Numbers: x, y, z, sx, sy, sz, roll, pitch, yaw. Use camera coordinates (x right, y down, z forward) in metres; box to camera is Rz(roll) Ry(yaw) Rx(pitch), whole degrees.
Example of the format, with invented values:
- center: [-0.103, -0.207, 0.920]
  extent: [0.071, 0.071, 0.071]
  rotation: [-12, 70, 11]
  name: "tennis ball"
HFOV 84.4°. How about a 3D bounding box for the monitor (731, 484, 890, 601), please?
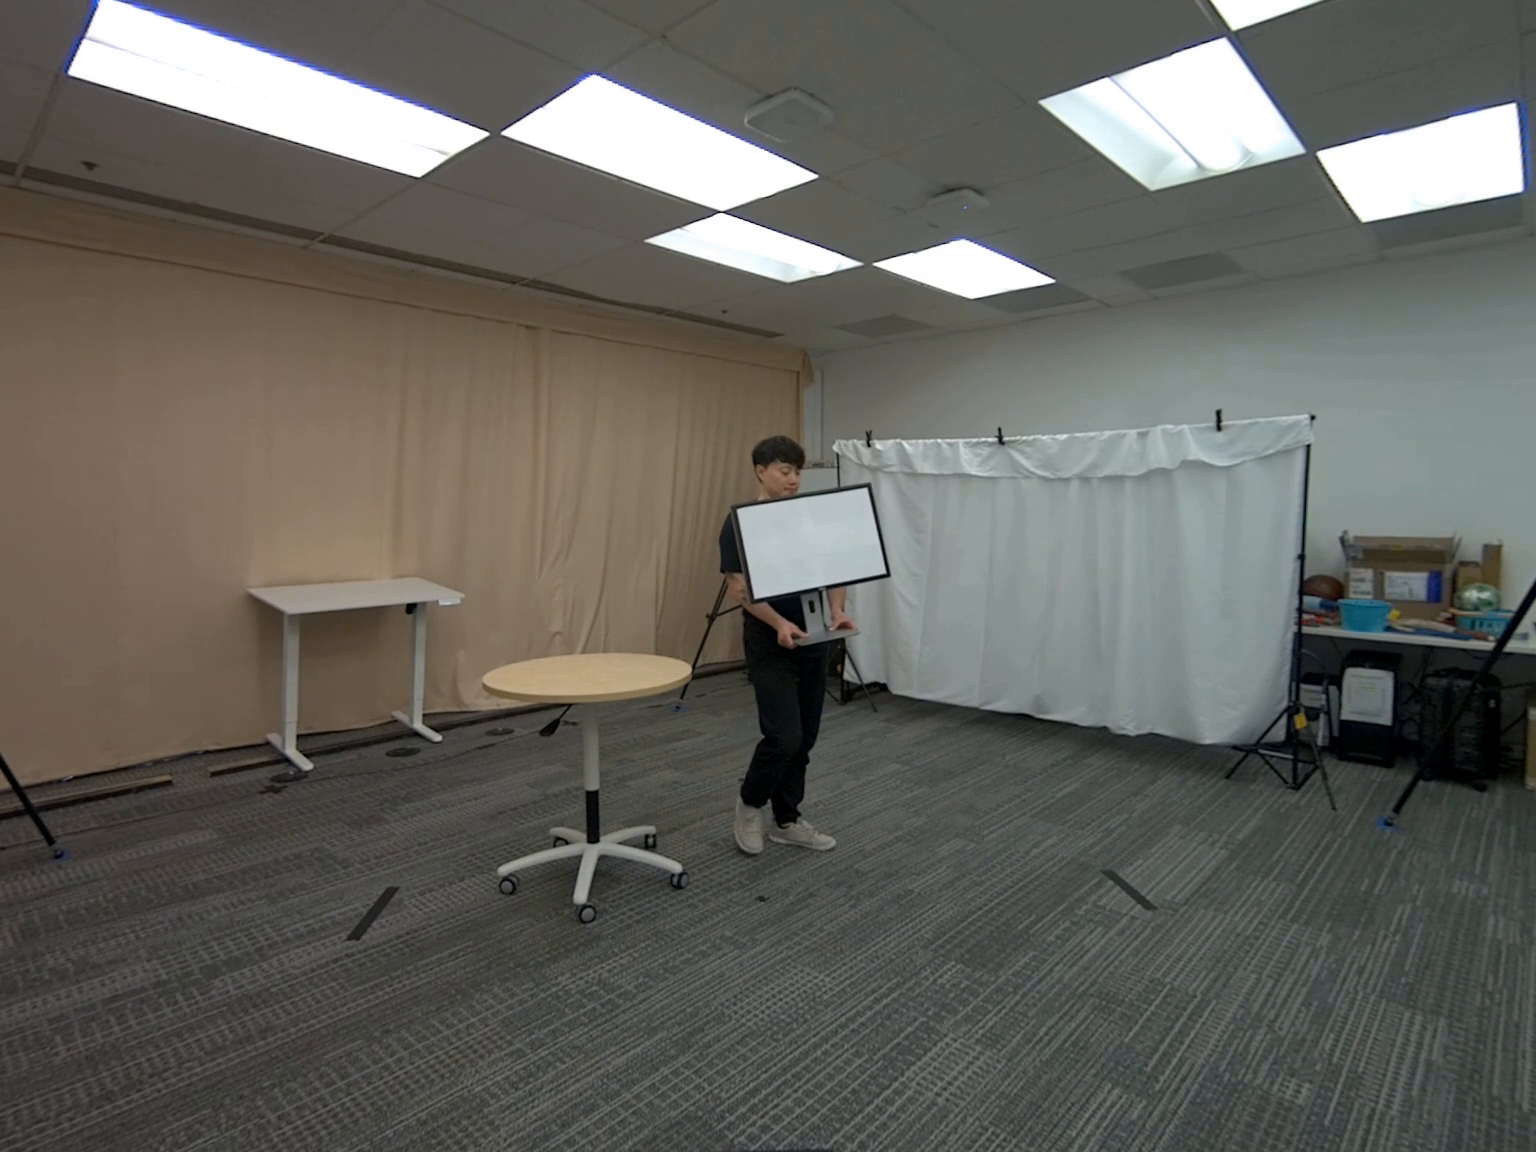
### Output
- center: [0.161, -0.037, 3.109]
  extent: [0.530, 0.520, 0.191]
  rotation: [-10, 7, -19]
  name: "monitor"
